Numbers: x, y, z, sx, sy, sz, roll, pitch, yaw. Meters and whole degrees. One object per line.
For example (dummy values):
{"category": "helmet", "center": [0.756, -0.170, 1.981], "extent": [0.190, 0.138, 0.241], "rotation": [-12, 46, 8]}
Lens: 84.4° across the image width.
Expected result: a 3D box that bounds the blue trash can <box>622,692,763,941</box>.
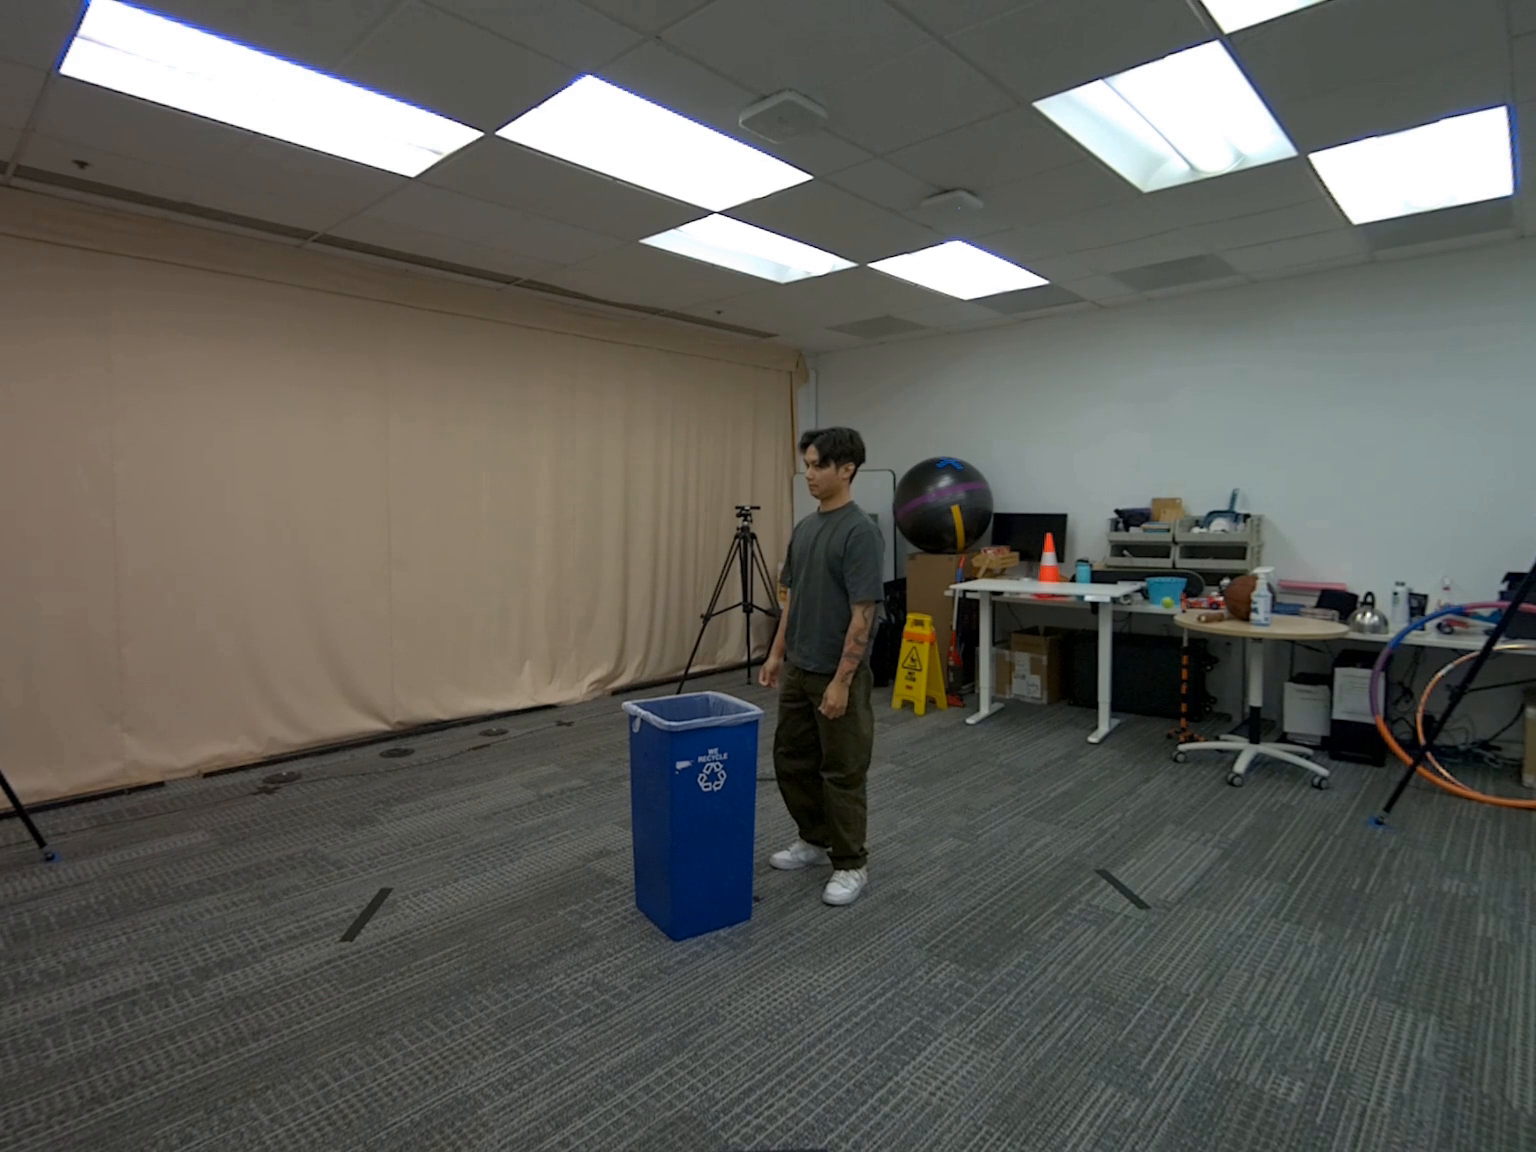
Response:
{"category": "blue trash can", "center": [-0.248, 0.797, 2.867], "extent": [0.367, 0.712, 0.385], "rotation": [-2, 3, -33]}
